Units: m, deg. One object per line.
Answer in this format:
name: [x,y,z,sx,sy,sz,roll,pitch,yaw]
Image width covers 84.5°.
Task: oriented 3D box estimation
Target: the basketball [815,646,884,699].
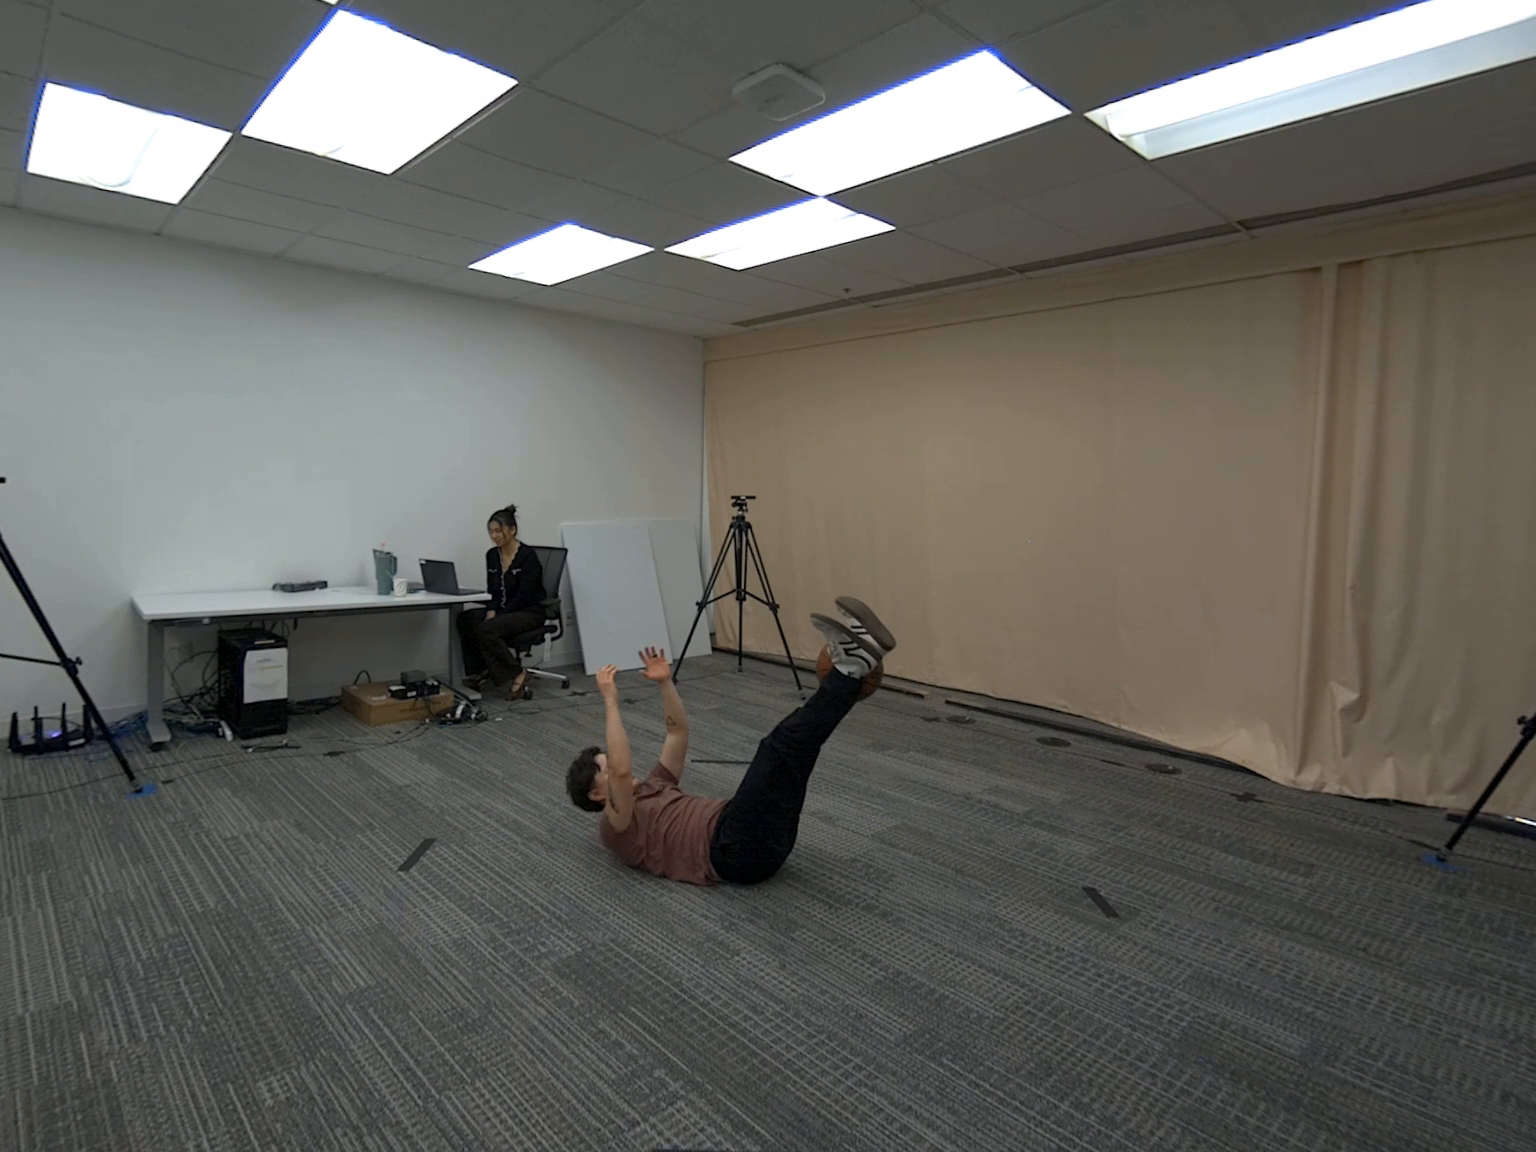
basketball: [0.292,0.336,2.974,0.236,0.234,0.237,0,8,-1]
